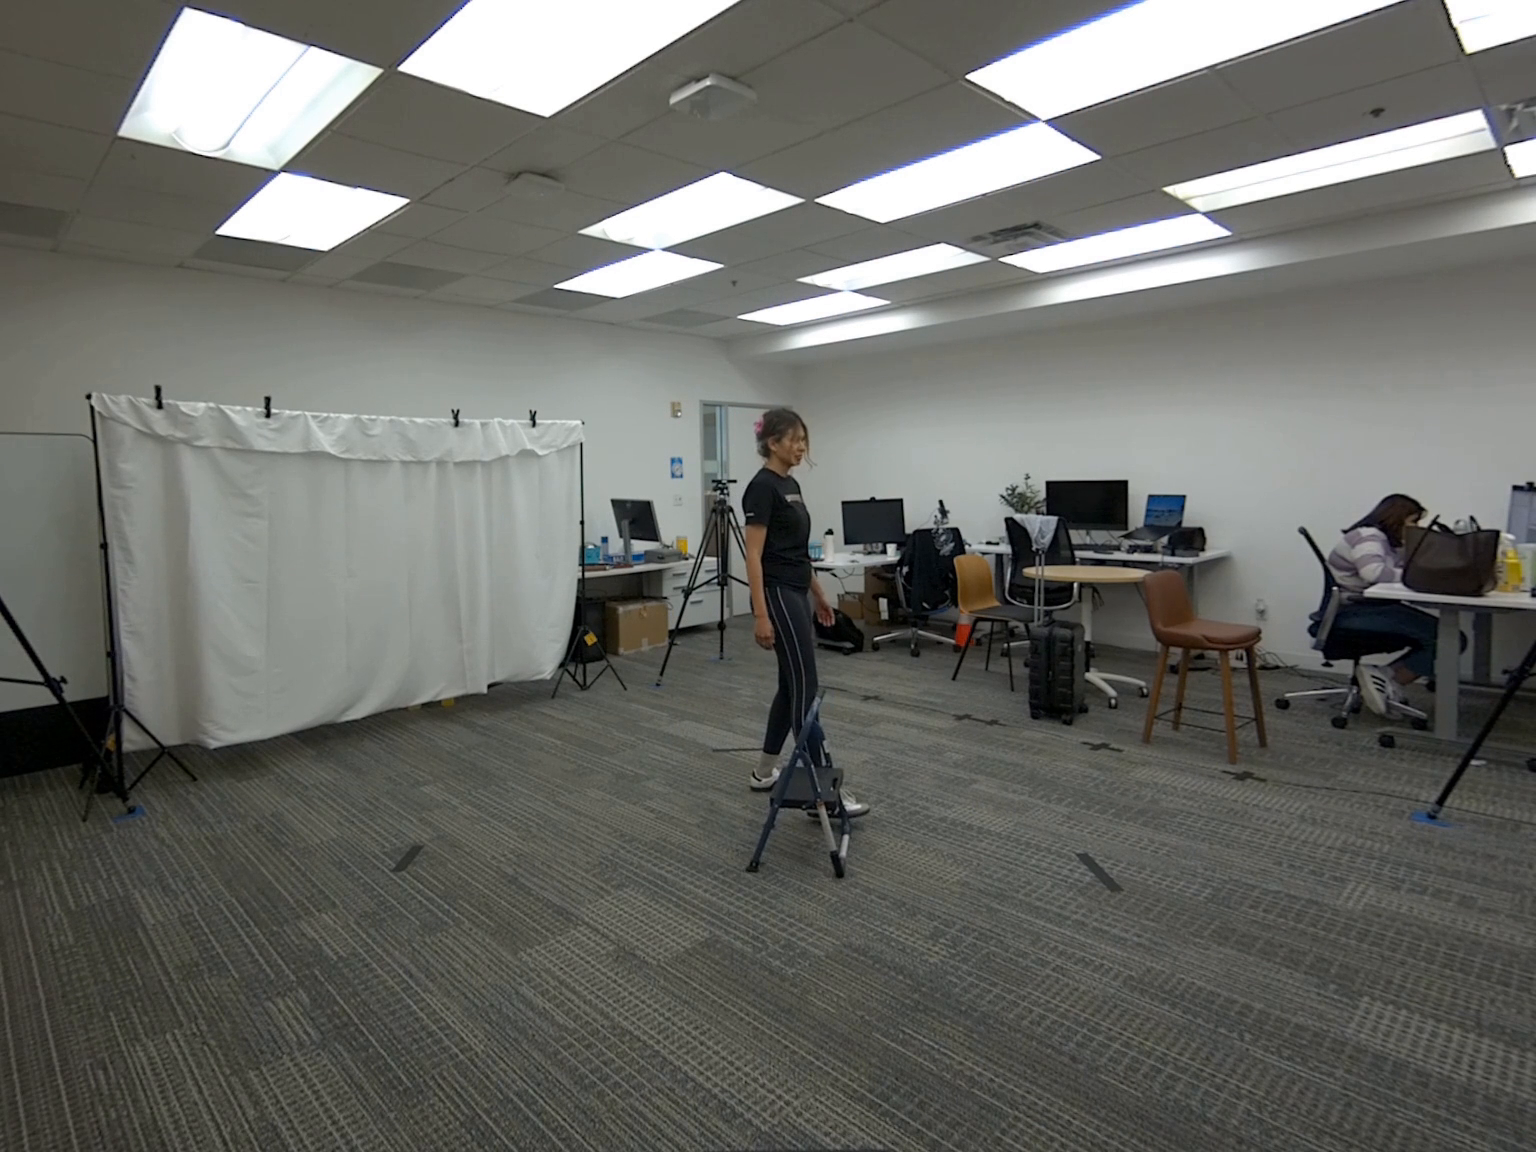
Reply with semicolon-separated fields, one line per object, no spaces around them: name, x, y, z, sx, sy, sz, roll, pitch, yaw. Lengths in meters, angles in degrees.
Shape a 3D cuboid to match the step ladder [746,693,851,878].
step ladder;0.123;0.735;3.200;0.353;0.604;0.428;-1;4;9
